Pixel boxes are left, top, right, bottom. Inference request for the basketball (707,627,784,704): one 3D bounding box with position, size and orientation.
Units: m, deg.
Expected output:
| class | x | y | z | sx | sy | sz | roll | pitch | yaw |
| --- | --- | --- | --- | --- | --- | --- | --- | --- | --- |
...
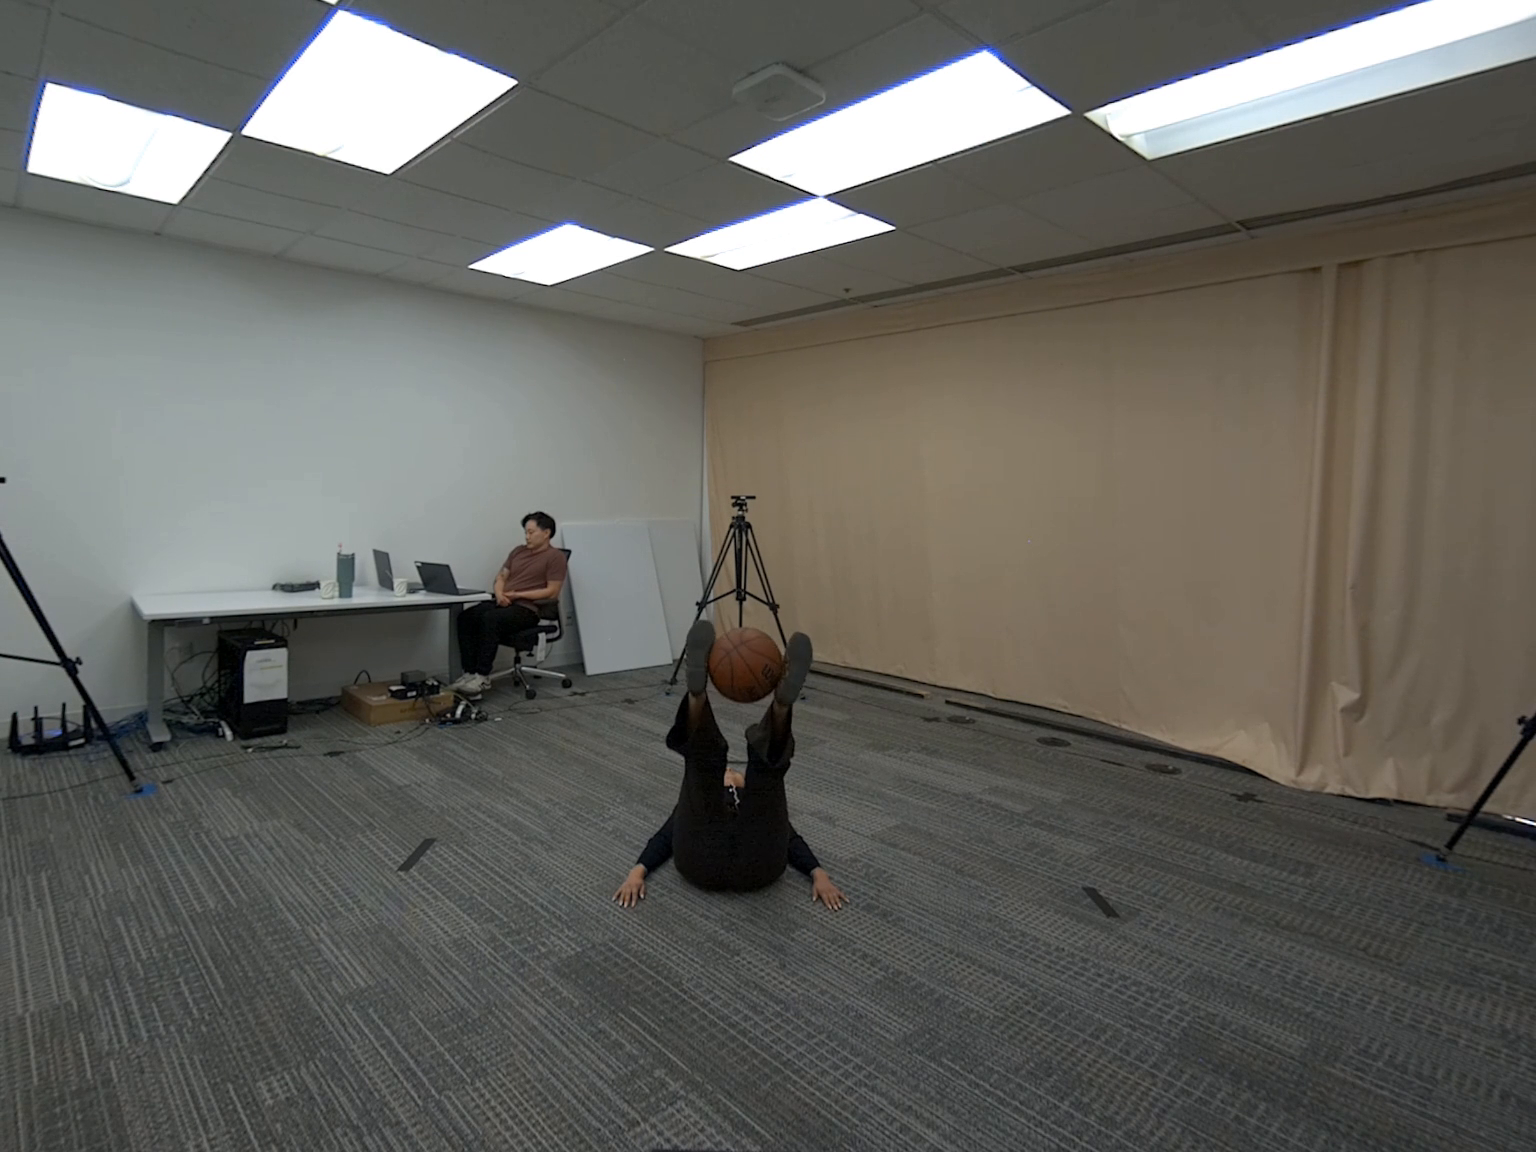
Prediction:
| class | x | y | z | sx | sy | sz | roll | pitch | yaw |
| --- | --- | --- | --- | --- | --- | --- | --- | --- | --- |
| basketball | -0.088 | 0.292 | 2.641 | 0.235 | 0.235 | 0.237 | 4 | 5 | -2 |
